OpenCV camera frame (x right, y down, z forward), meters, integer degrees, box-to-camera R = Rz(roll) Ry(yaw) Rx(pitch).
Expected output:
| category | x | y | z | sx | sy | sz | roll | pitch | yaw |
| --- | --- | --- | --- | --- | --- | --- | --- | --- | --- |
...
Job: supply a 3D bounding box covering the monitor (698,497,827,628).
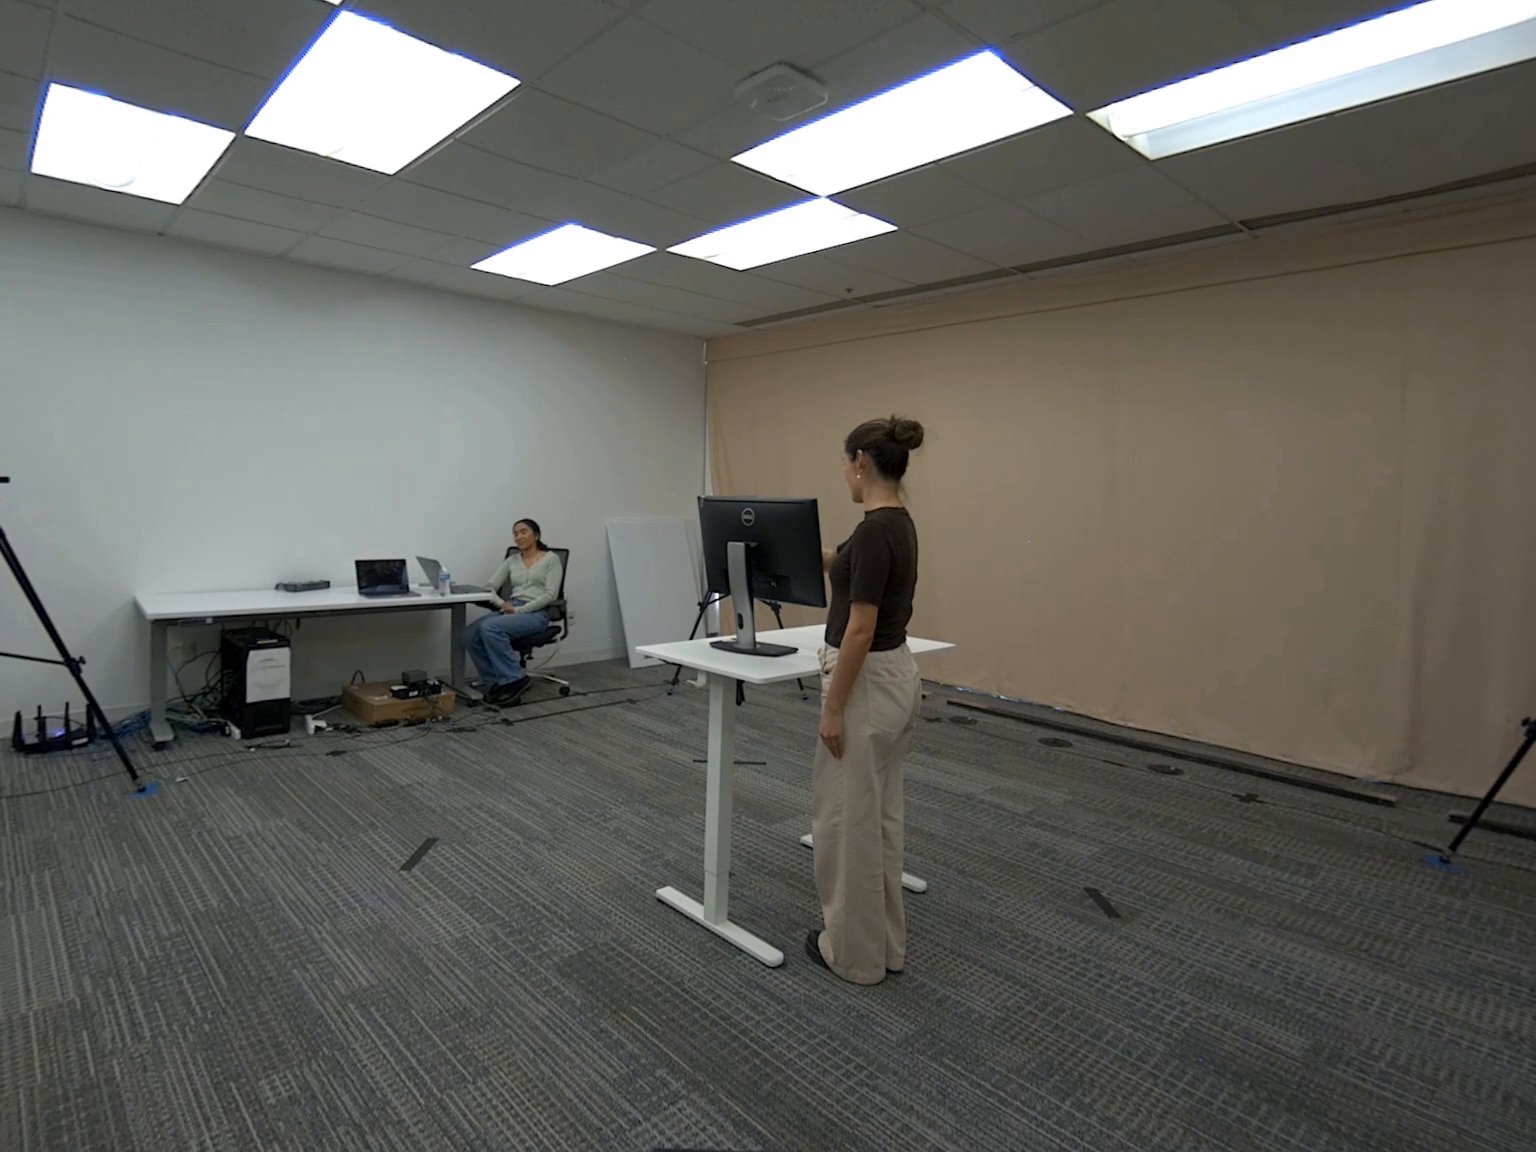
| category | x | y | z | sx | sy | sz | roll | pitch | yaw |
| --- | --- | --- | --- | --- | --- | --- | --- | --- | --- |
| monitor | -0.060 | -0.001 | 2.800 | 0.553 | 0.521 | 0.183 | 5 | 4 | 43 |
